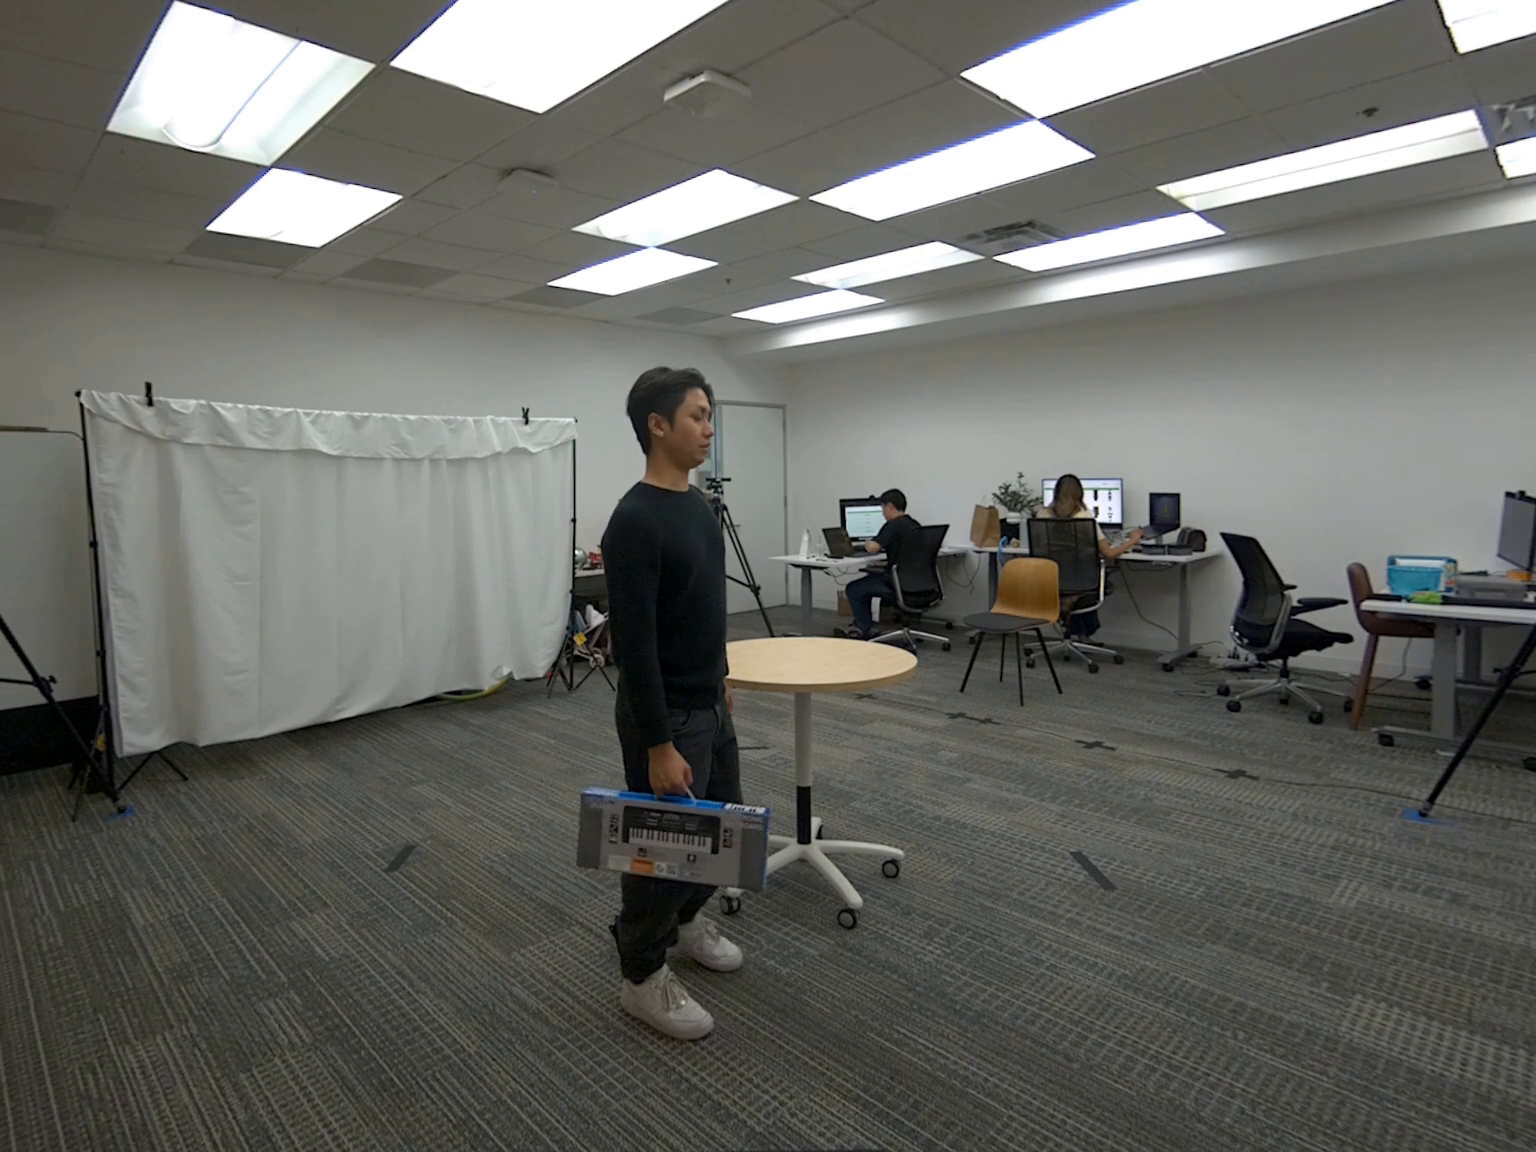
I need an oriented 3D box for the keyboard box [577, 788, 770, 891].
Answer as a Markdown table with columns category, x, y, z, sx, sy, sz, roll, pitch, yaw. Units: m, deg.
| category | x | y | z | sx | sy | sz | roll | pitch | yaw |
| --- | --- | --- | --- | --- | --- | --- | --- | --- | --- |
| keyboard box | -0.218 | 0.601 | 1.969 | 0.441 | 0.176 | 0.058 | 4 | -1 | 10 |
